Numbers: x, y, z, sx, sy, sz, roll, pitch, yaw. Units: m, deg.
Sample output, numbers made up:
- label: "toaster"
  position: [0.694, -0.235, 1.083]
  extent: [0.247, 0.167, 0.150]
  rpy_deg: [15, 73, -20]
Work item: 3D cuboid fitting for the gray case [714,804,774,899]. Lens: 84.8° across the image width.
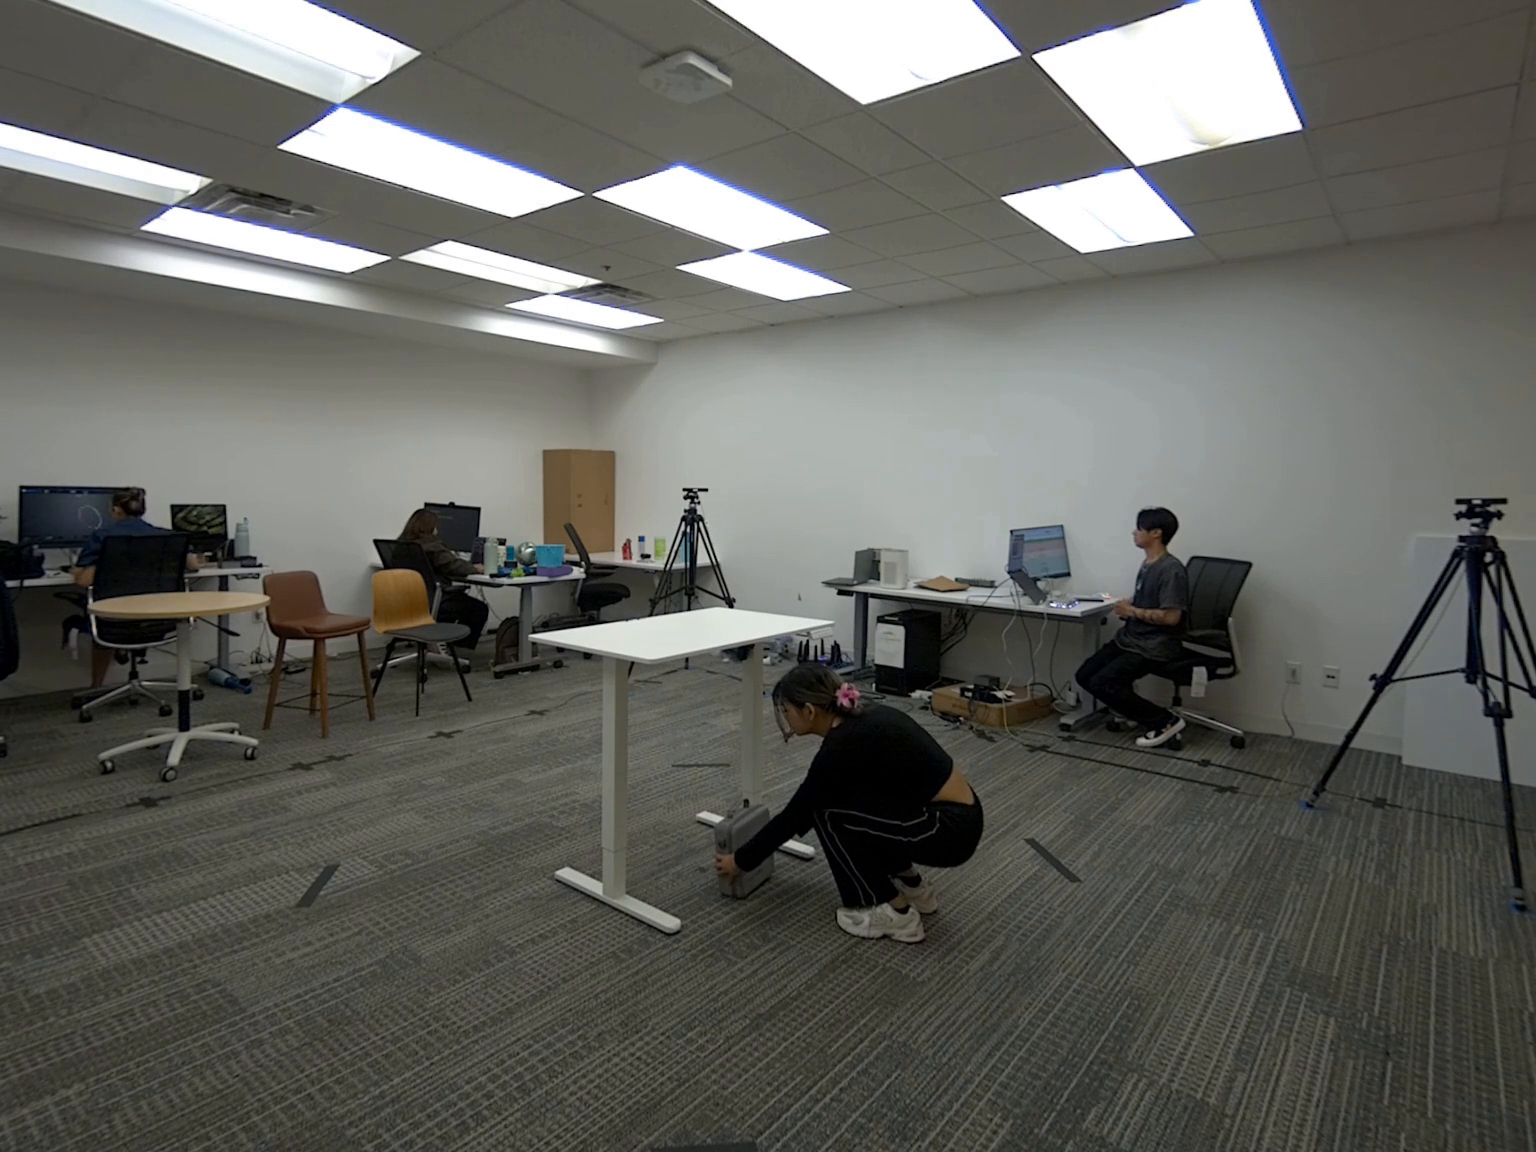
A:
- label: "gray case"
  position: [-0.097, 0.954, 2.992]
  extent: [0.107, 0.261, 0.250]
  rpy_deg: [-8, -1, 31]
